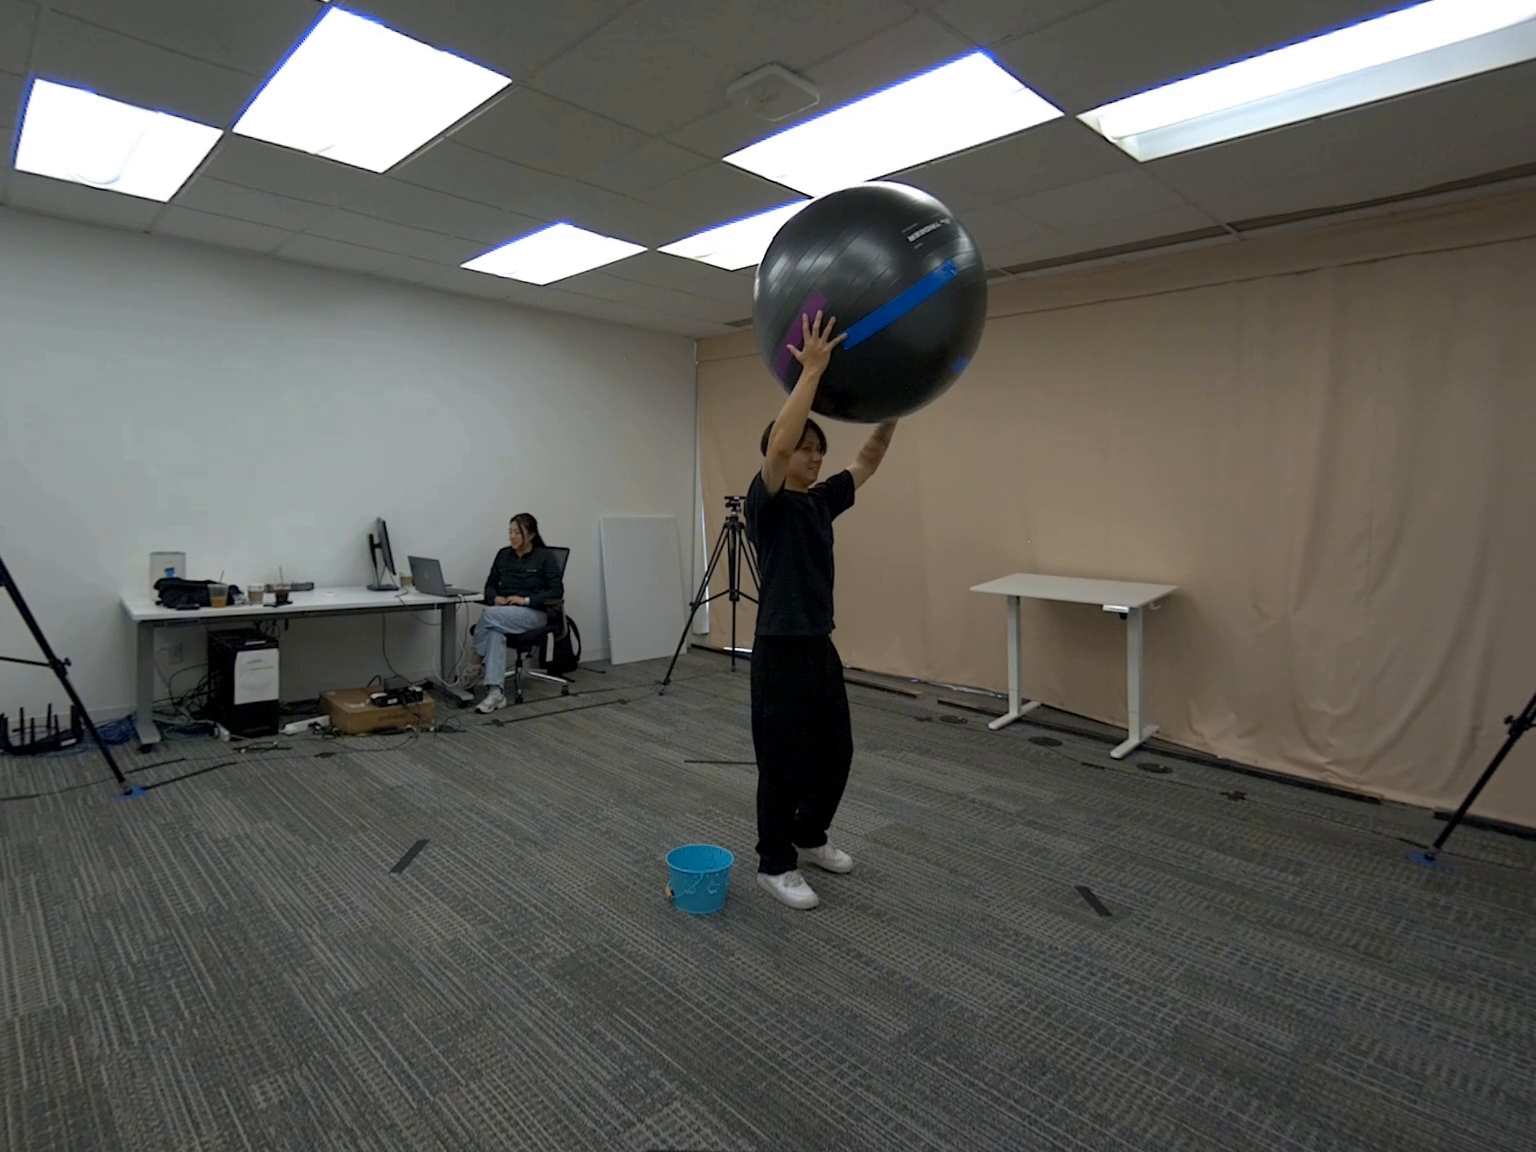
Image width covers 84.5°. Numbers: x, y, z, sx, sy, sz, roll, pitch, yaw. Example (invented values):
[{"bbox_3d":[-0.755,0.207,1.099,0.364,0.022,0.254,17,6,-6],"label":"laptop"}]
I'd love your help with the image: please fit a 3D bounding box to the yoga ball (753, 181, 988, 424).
[{"bbox_3d":[0.327,-0.884,2.765,0.757,0.756,0.761,1,4,-1],"label":"yoga ball"}]
